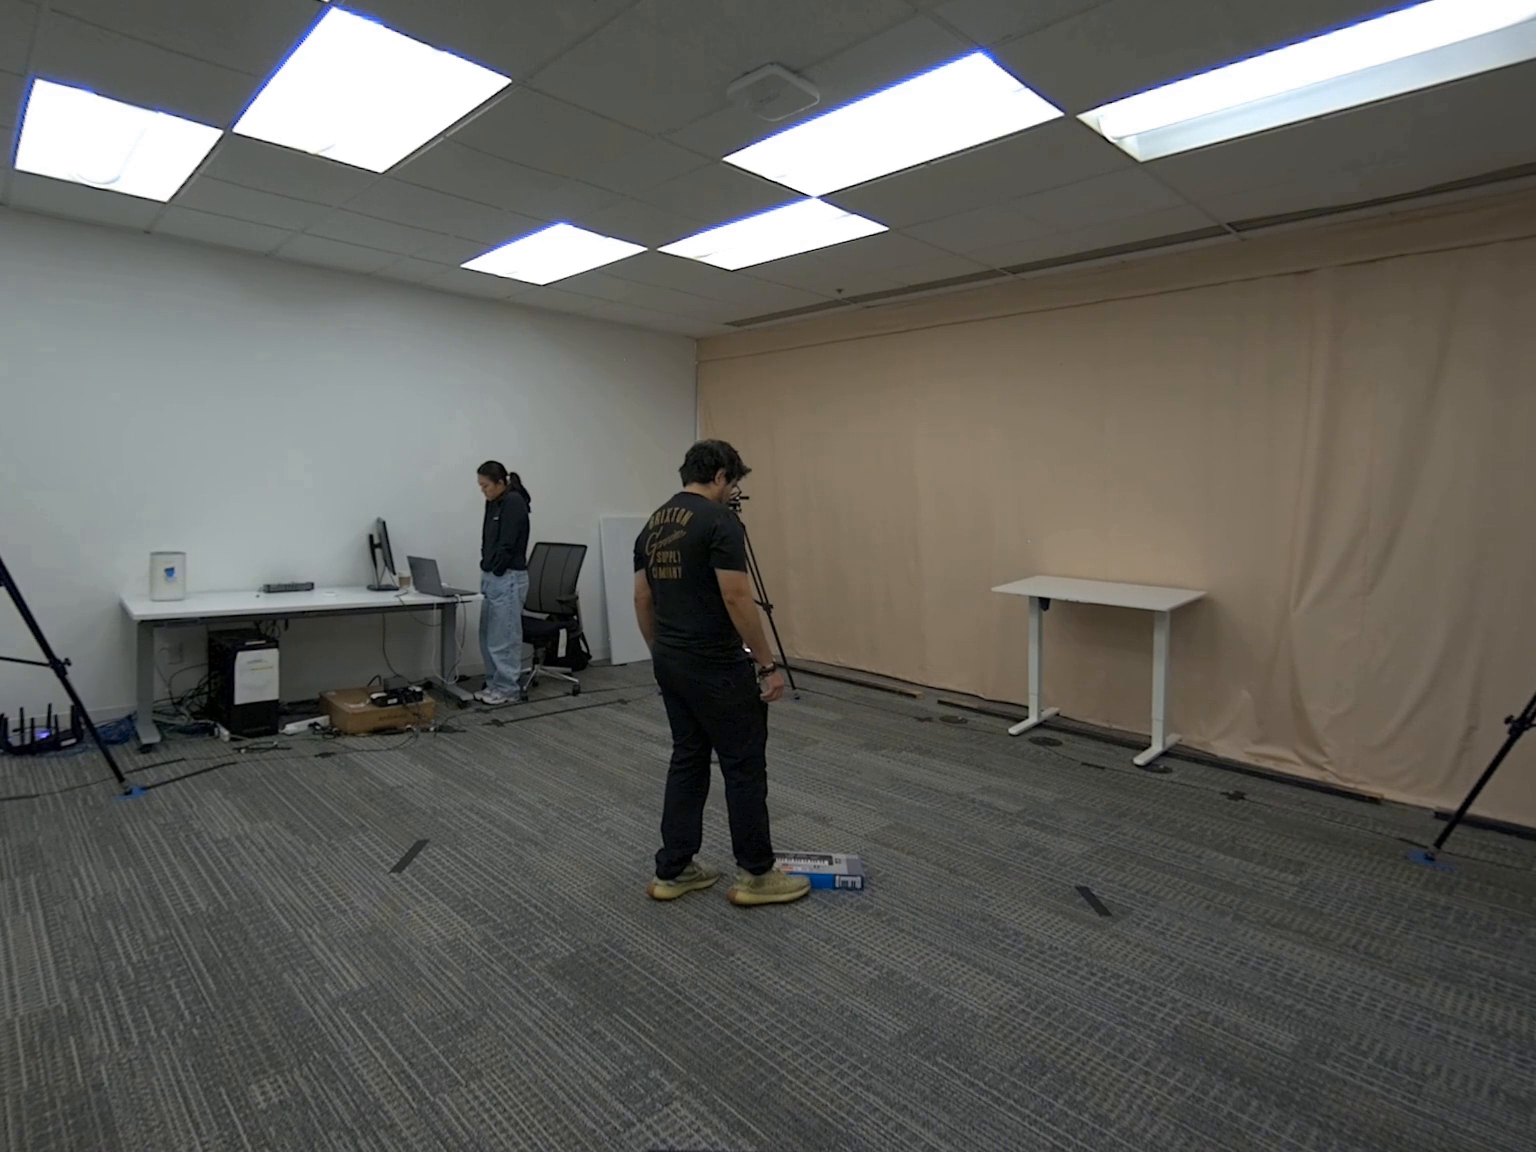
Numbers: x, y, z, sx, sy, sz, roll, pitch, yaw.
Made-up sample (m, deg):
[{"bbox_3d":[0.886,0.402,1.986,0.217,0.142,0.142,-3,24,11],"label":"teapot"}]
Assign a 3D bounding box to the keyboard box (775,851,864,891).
[{"bbox_3d":[0.118,1.081,3.097,0.438,0.059,0.176,2,6,4],"label":"keyboard box"}]
